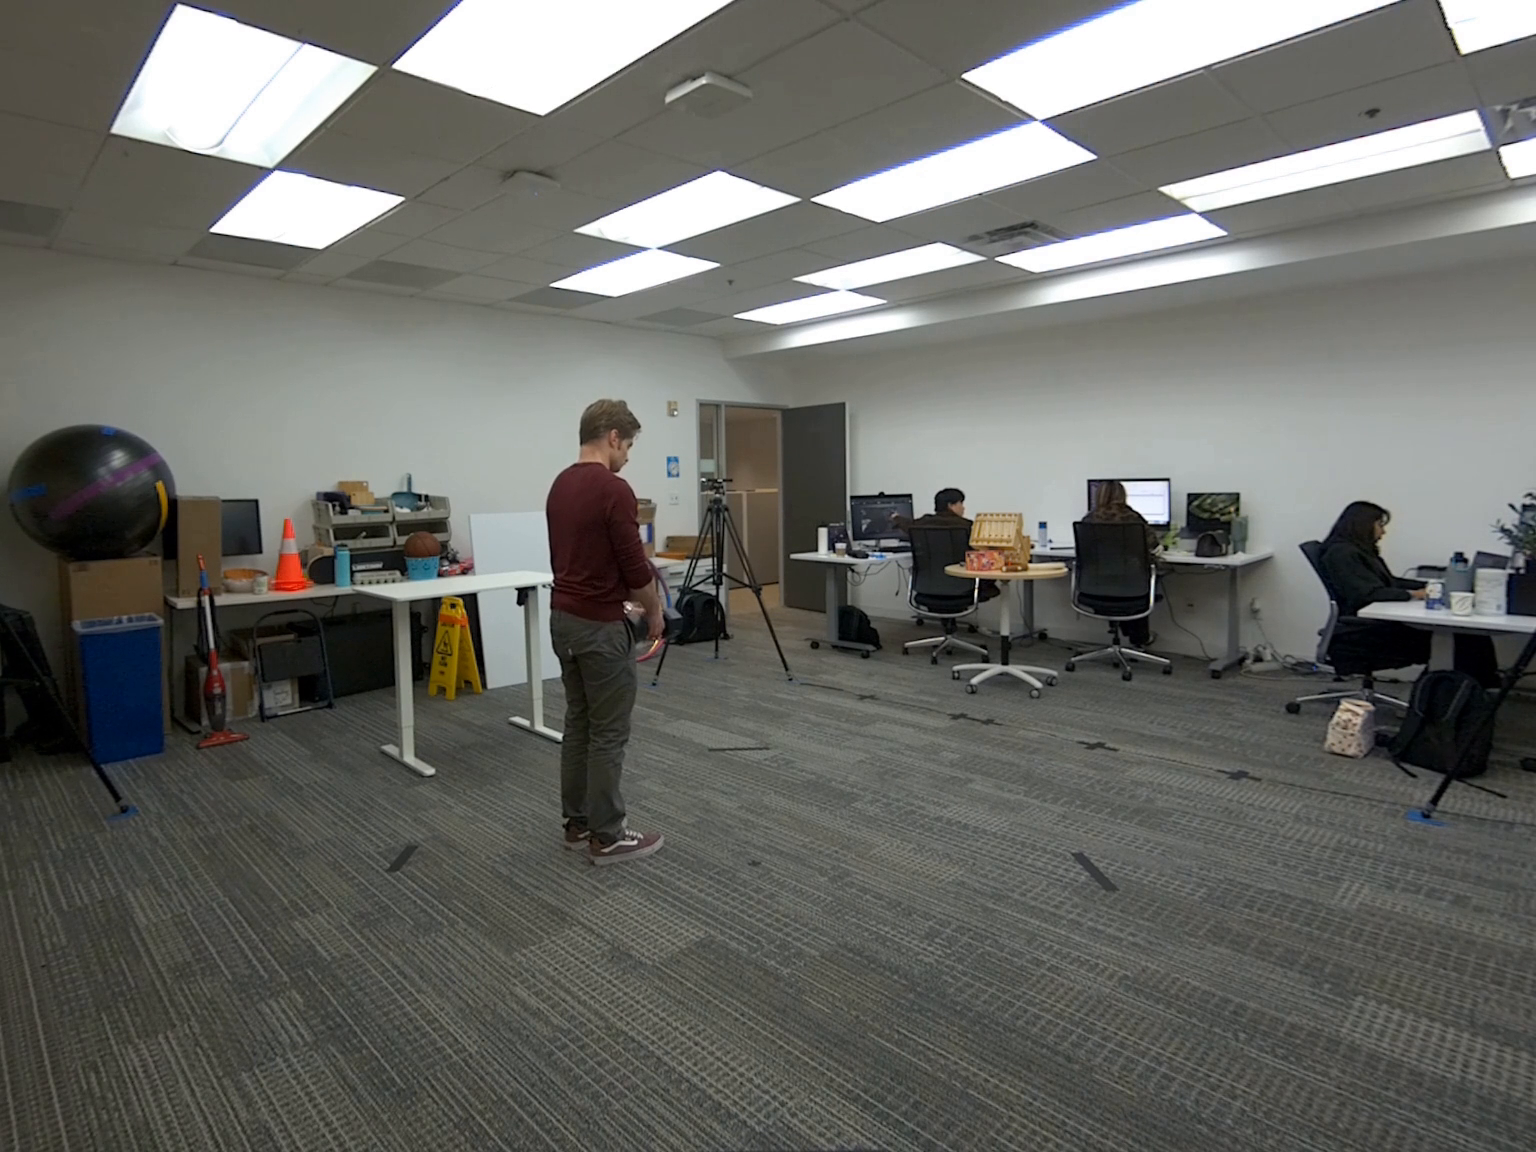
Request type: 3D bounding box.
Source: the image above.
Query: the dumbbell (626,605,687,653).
[{"bbox_3d":[-0.462,0.202,3.348,0.112,0.122,0.286,8,11,37],"label":"dumbbell"}]
